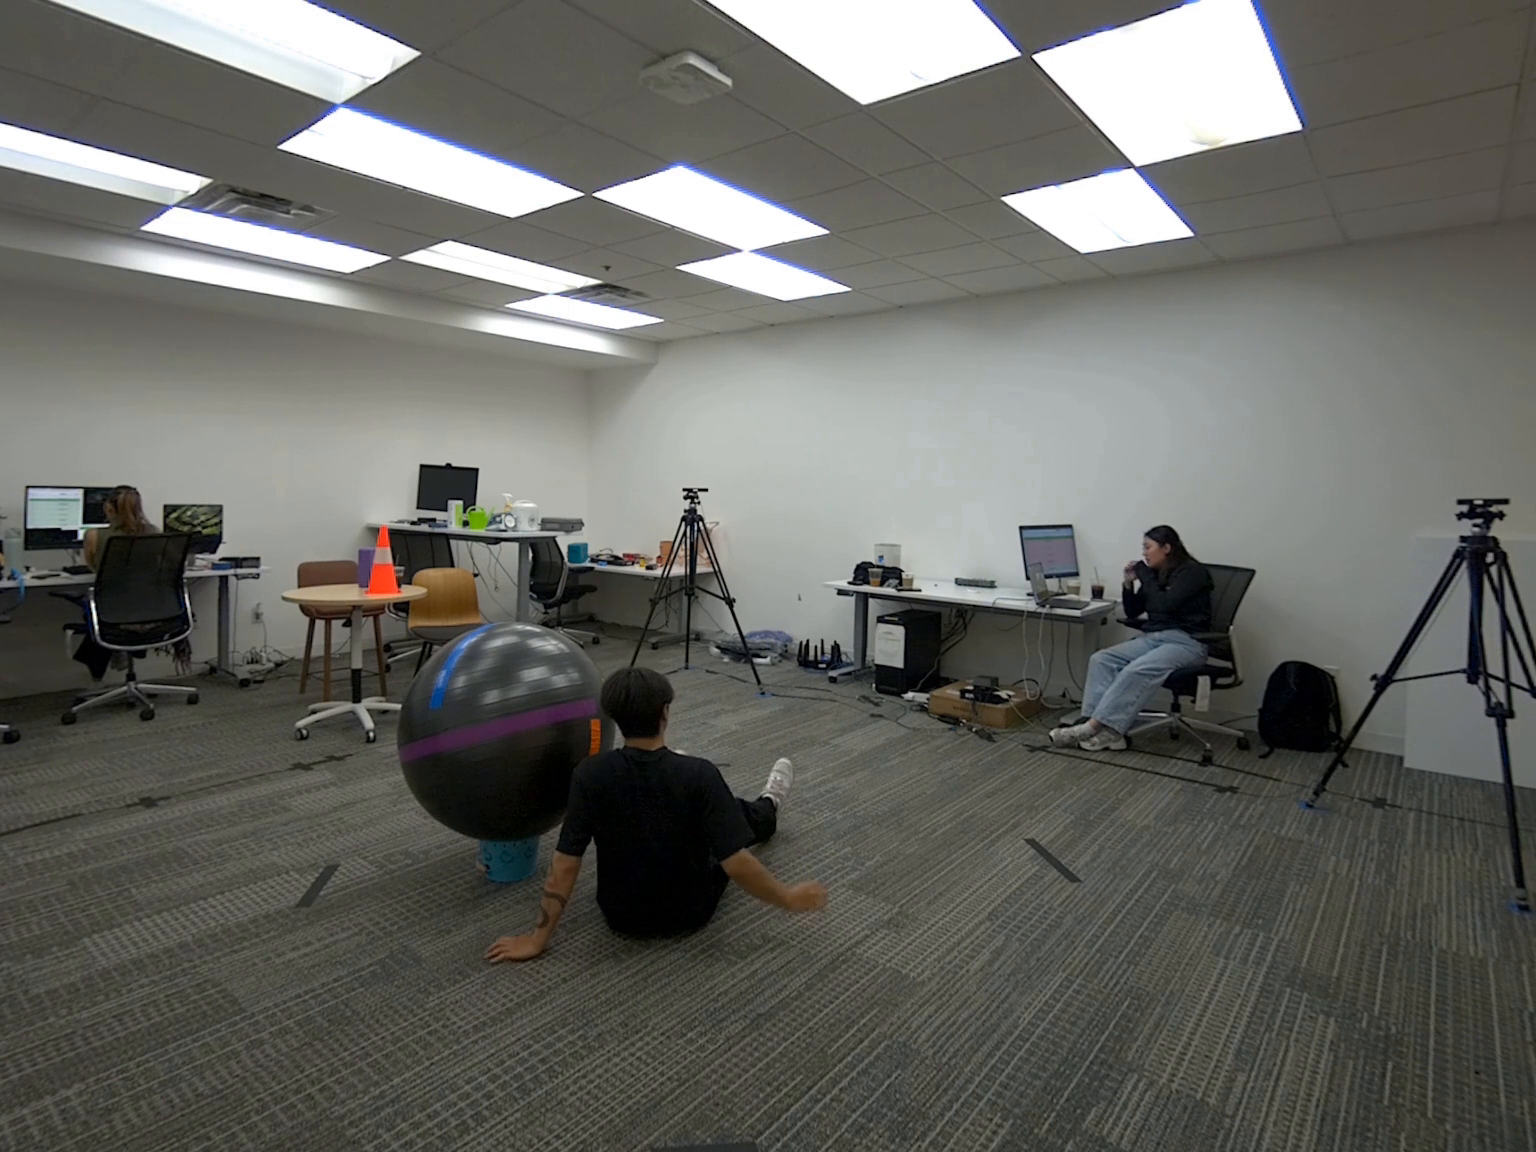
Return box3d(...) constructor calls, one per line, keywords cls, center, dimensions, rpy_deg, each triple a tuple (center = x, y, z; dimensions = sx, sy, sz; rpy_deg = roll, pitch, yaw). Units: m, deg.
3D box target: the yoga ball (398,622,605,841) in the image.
box3d(cls="yoga ball", center=(-0.953, 0.564, 3.049), dimensions=(0.757, 0.755, 0.762), rpy_deg=(1, 4, -2))
